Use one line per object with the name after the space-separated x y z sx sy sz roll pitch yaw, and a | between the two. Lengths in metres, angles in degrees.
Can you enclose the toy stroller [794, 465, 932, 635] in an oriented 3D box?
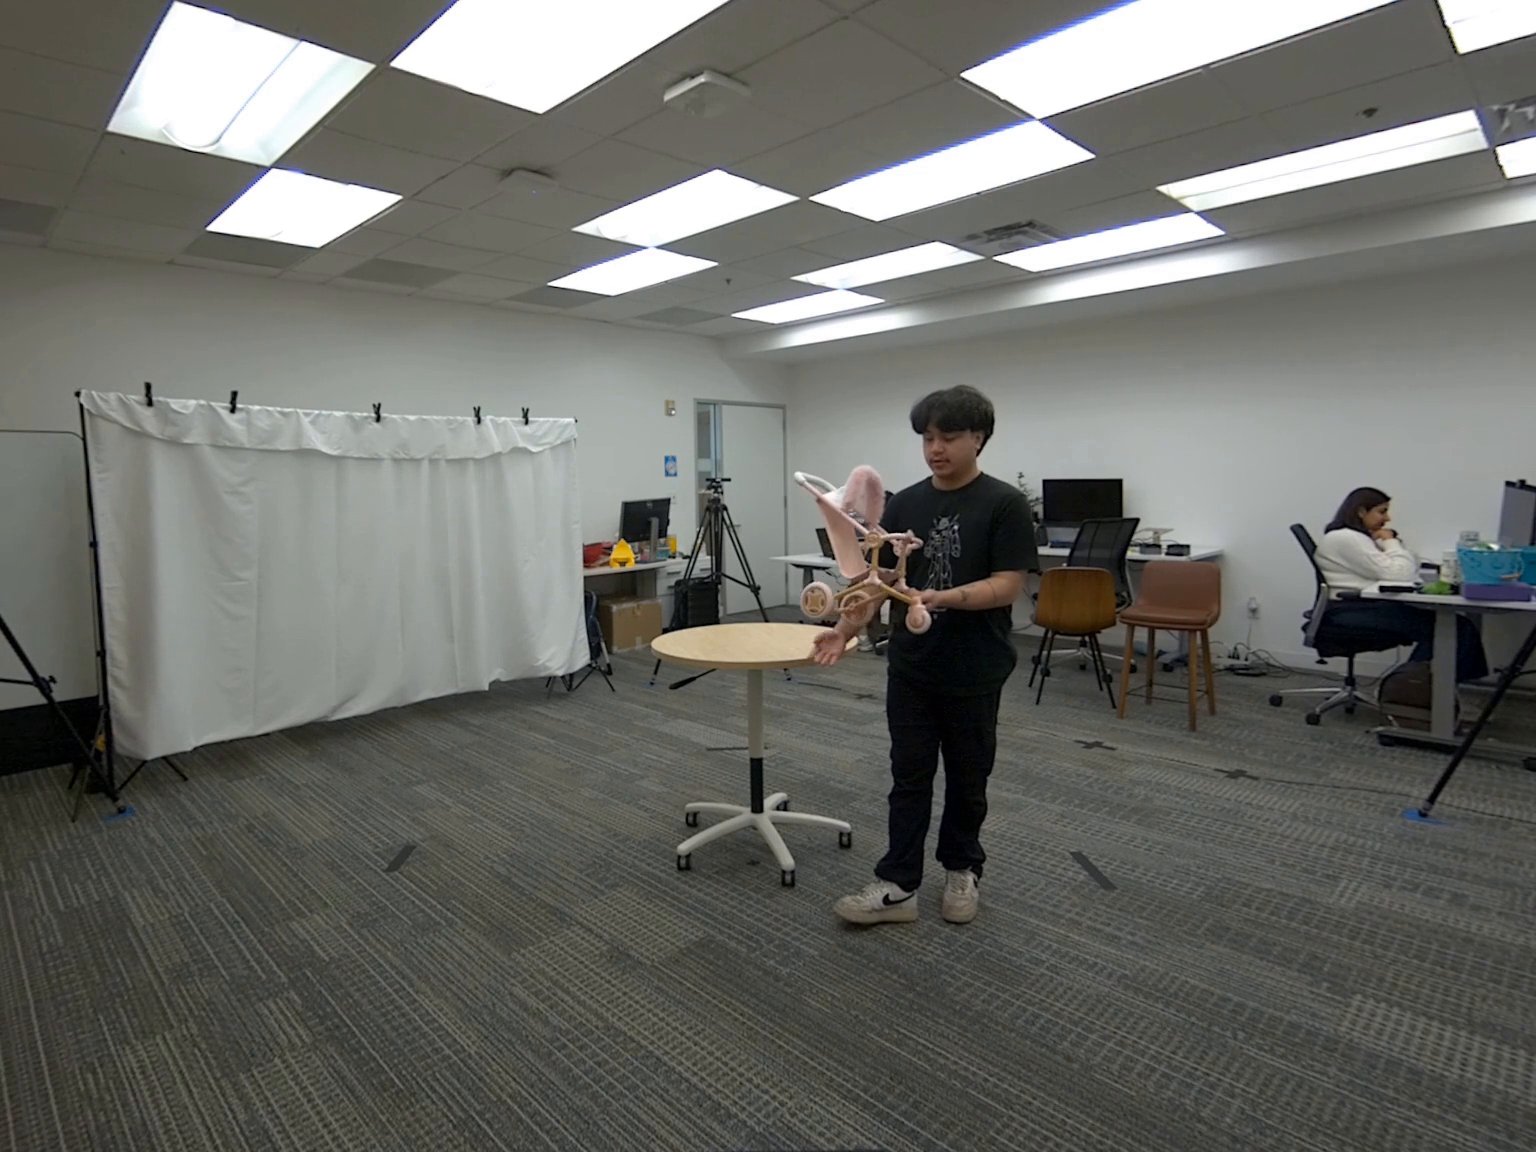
0.279 -0.078 2.463 0.348 0.542 0.272 -16 -17 36 | toy stroller
